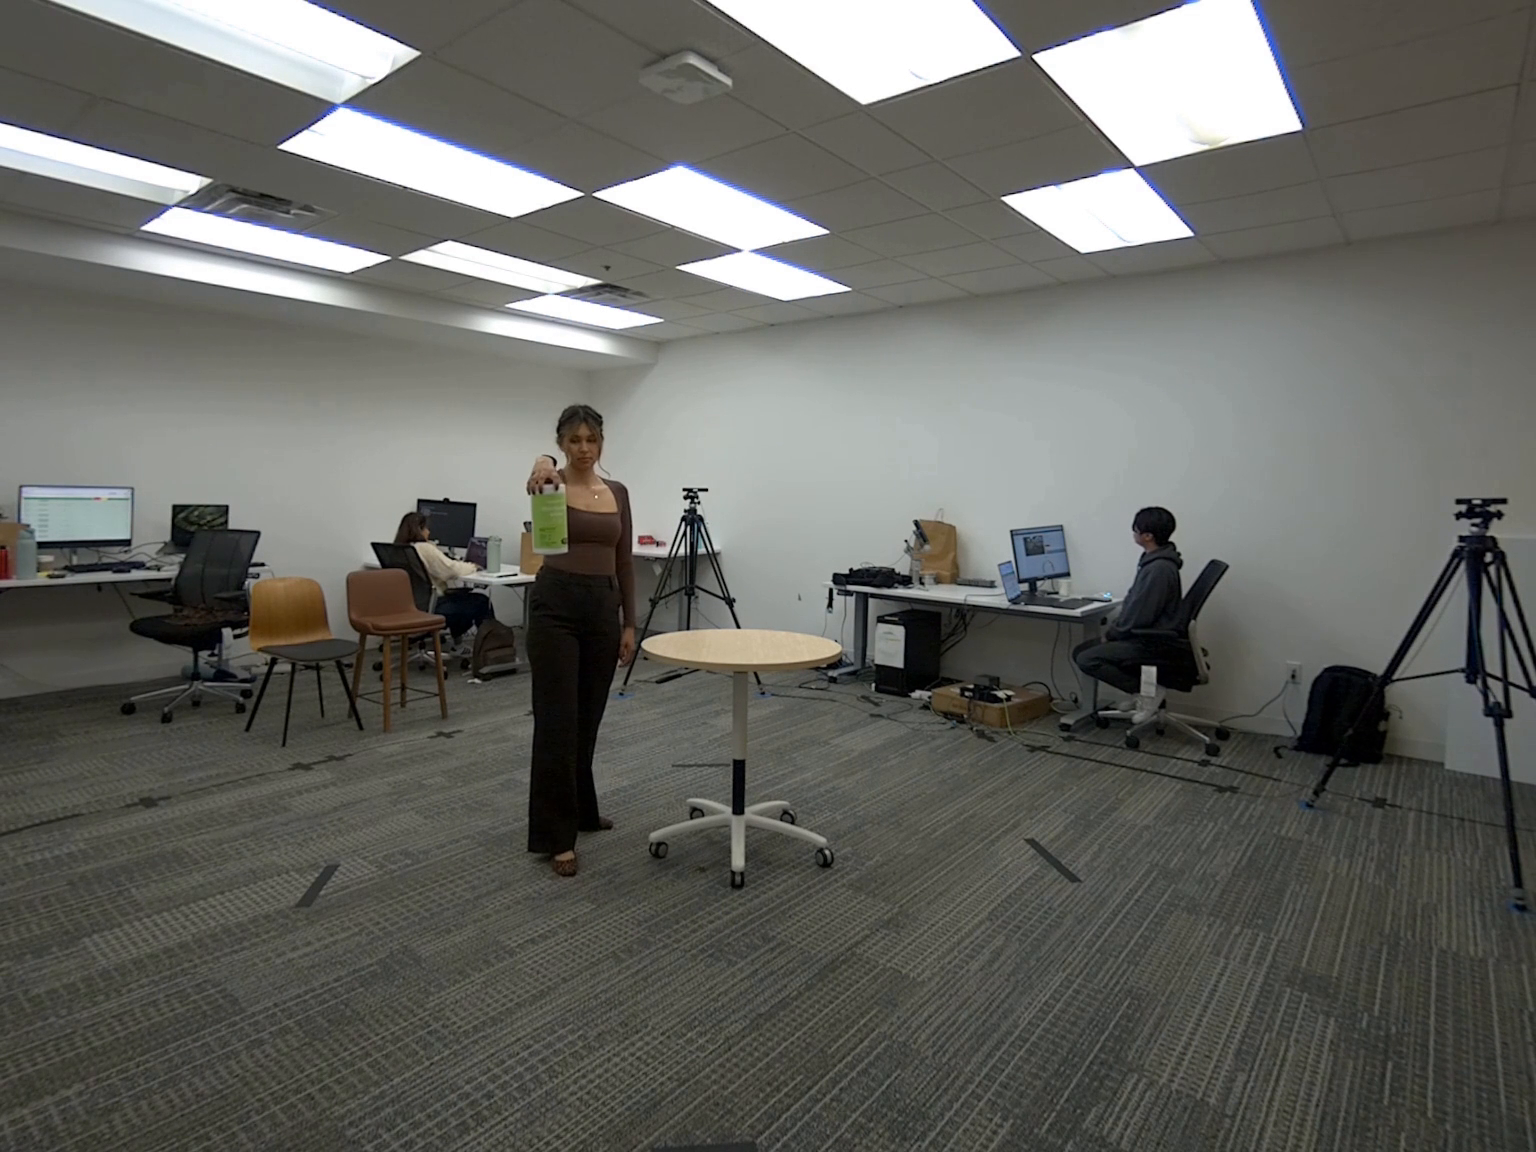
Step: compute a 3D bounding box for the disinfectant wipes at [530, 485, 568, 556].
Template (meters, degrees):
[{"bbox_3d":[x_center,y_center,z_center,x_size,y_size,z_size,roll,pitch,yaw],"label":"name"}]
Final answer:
[{"bbox_3d":[-0.697,-0.181,2.644,0.118,0.216,0.119,-1,7,-2],"label":"disinfectant wipes"}]
